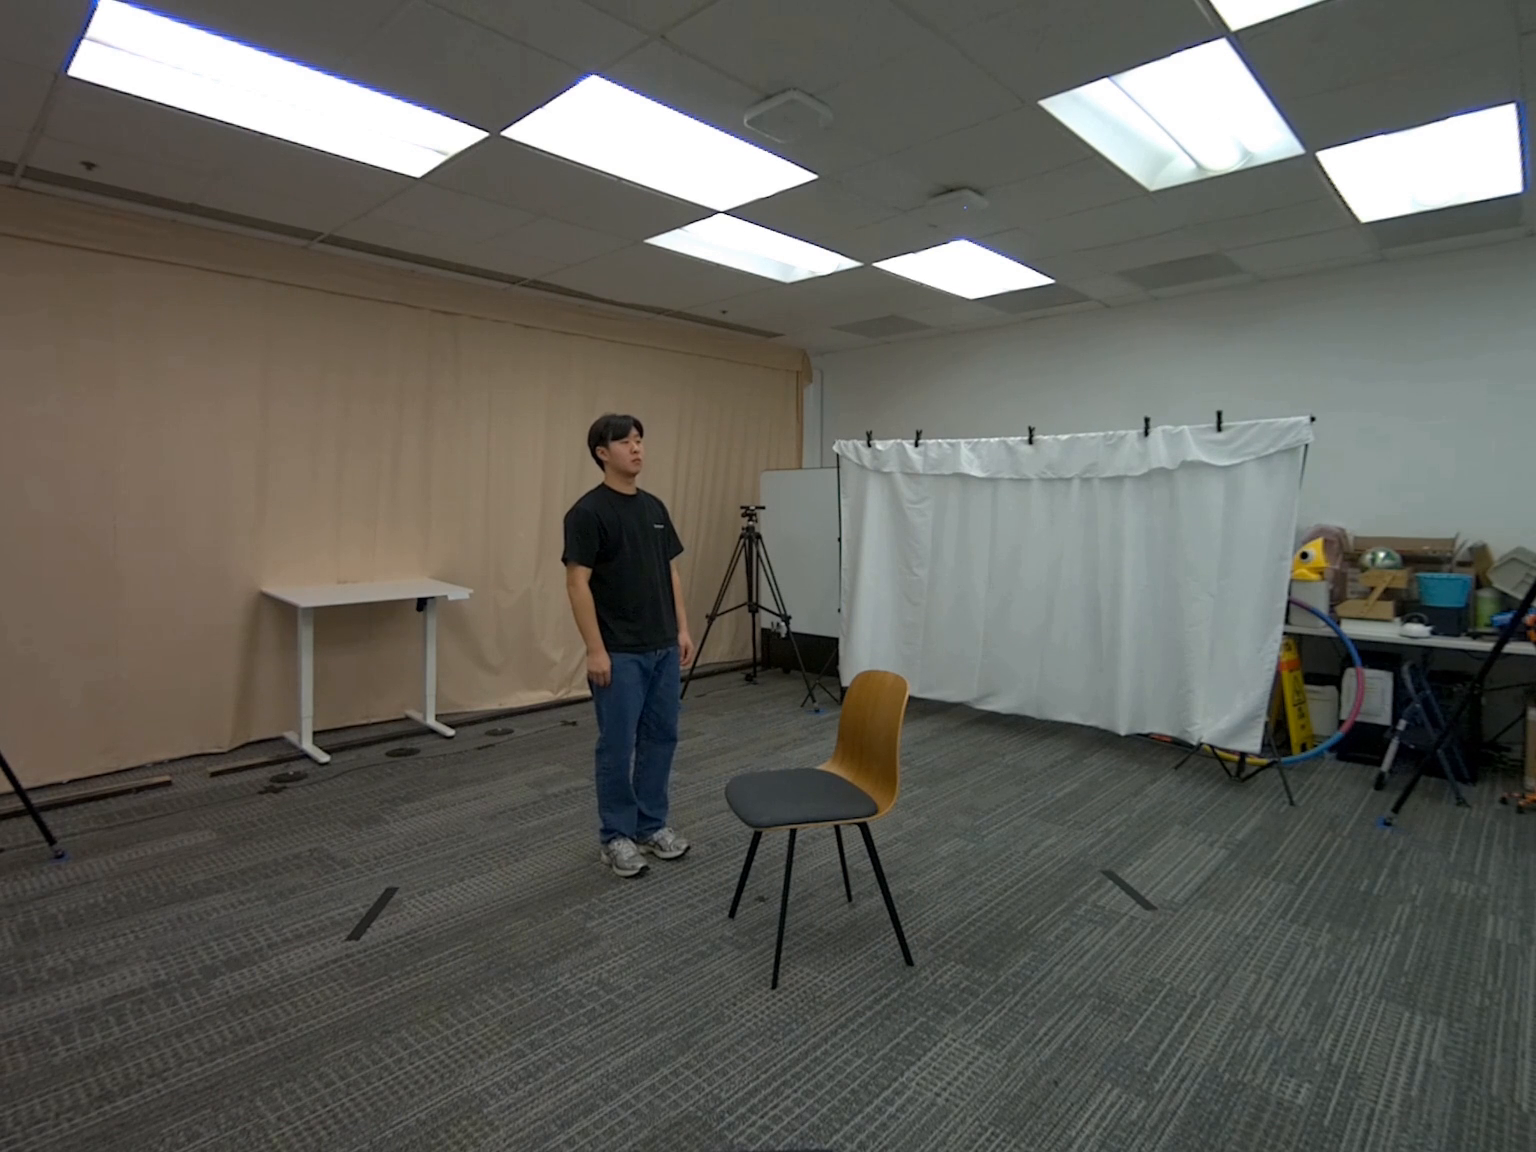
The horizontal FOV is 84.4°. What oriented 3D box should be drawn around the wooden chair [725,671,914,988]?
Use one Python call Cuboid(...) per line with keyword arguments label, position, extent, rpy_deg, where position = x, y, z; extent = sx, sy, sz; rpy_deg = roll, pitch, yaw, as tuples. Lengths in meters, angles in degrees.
Cuboid(label="wooden chair", position=(0.152, 0.744, 2.668), extent=(0.513, 0.876, 0.488), rpy_deg=(3, 2, -18))
